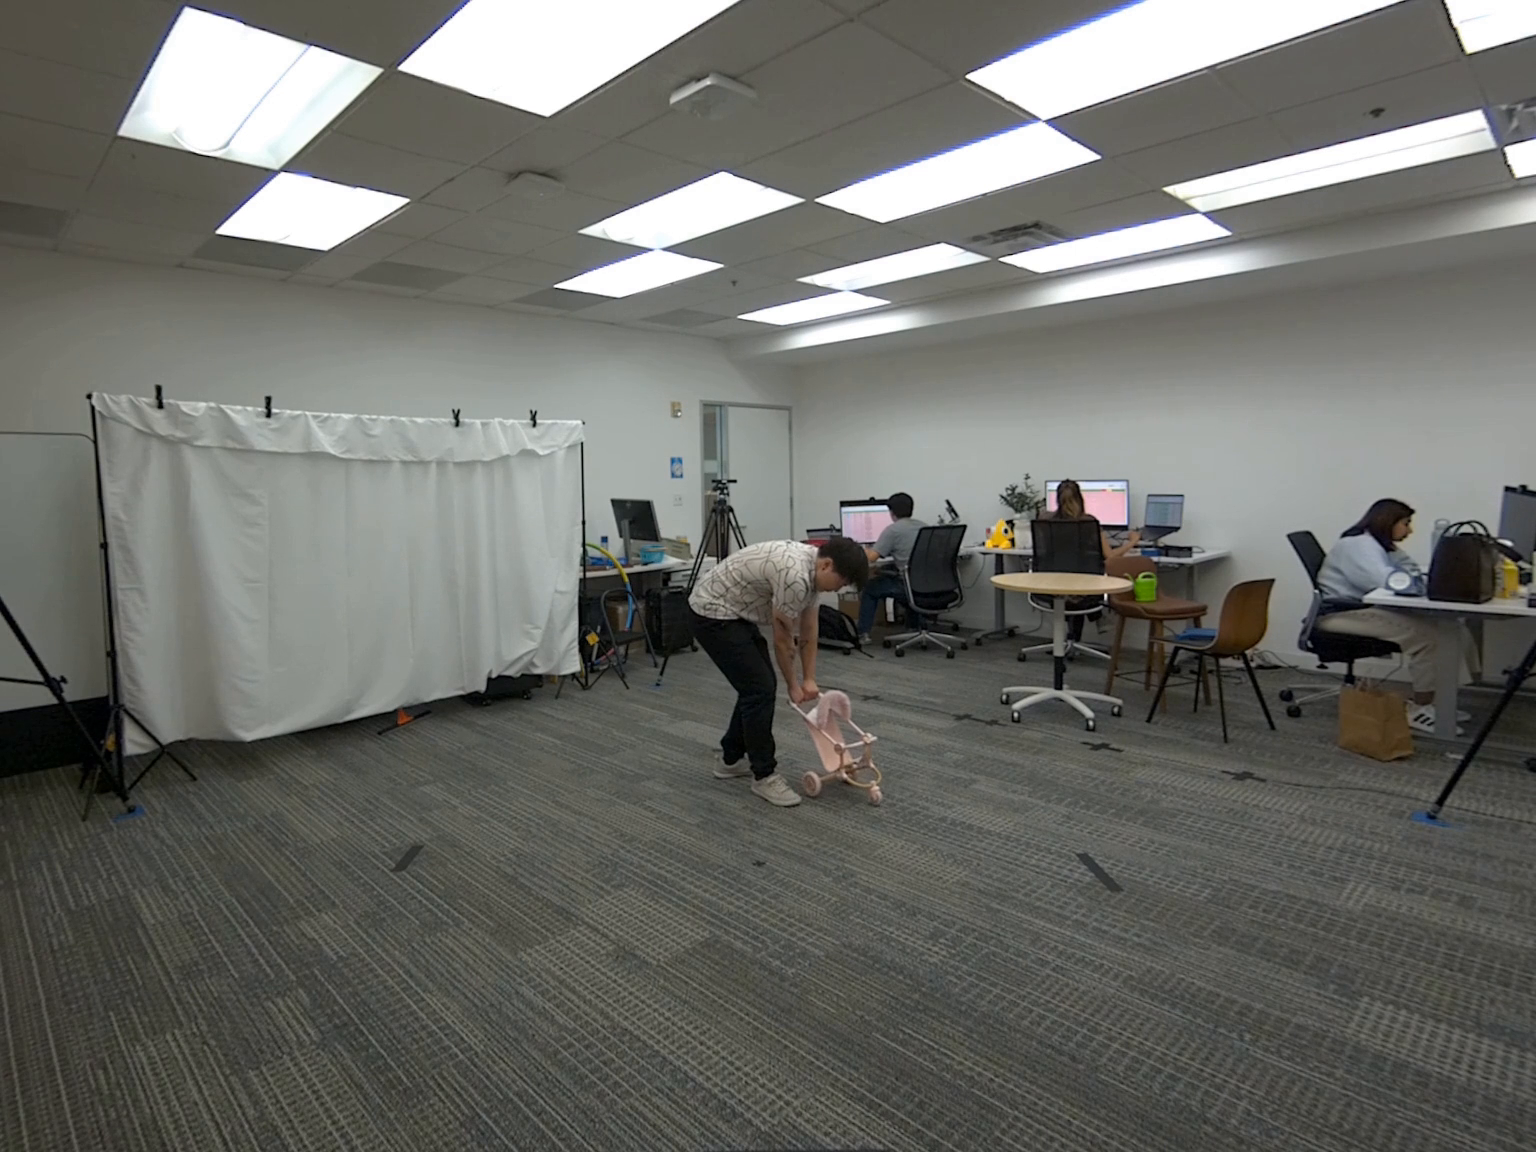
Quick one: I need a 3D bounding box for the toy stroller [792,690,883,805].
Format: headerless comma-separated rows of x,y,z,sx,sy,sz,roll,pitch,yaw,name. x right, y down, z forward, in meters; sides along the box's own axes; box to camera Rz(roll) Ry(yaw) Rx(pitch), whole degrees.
0.318,0.743,3.785,0.274,0.541,0.346,-5,-13,-39,toy stroller
